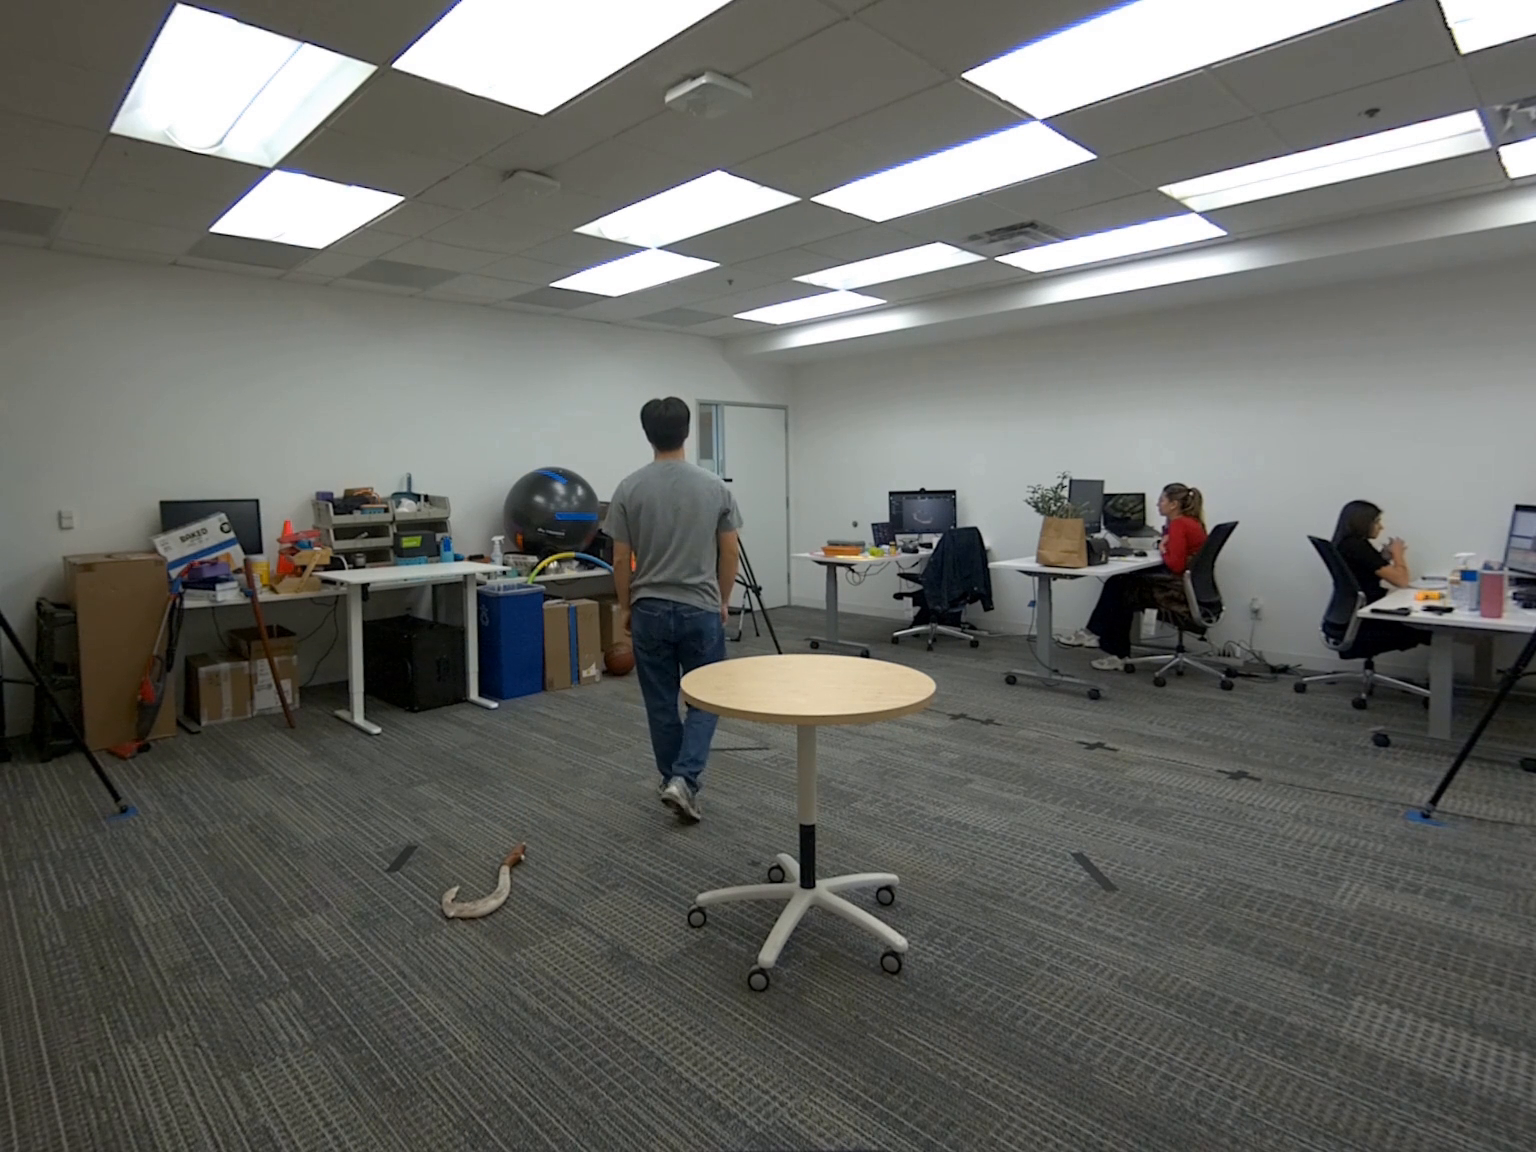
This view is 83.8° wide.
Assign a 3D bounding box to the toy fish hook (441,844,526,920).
[{"bbox_3d":[-0.978,1.054,2.994,0.225,0.048,0.508,-1,6,0],"label":"toy fish hook"}]
